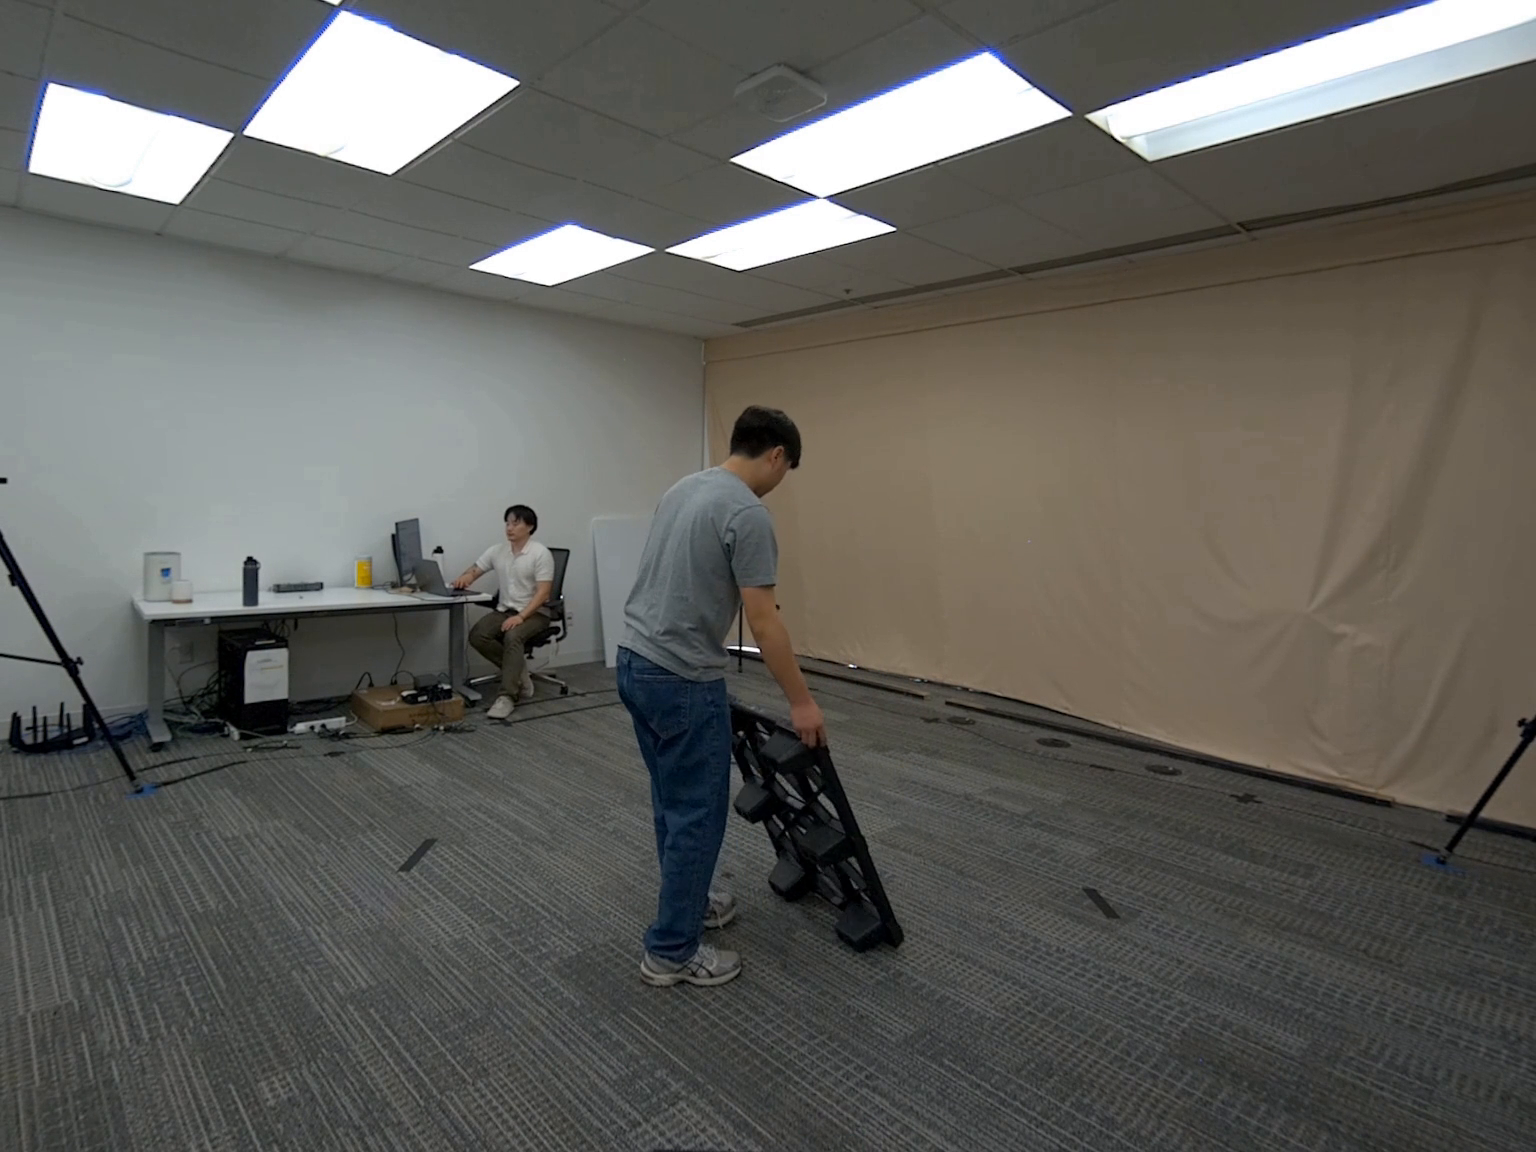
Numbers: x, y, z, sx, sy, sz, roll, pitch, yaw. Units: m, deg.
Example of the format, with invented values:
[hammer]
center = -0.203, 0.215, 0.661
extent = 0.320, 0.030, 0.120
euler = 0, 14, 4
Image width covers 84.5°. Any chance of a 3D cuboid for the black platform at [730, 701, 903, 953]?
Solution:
[black platform]
center = 0.067, 0.789, 2.712
extent = 0.142, 0.792, 0.620
euler = -31, 20, -26
